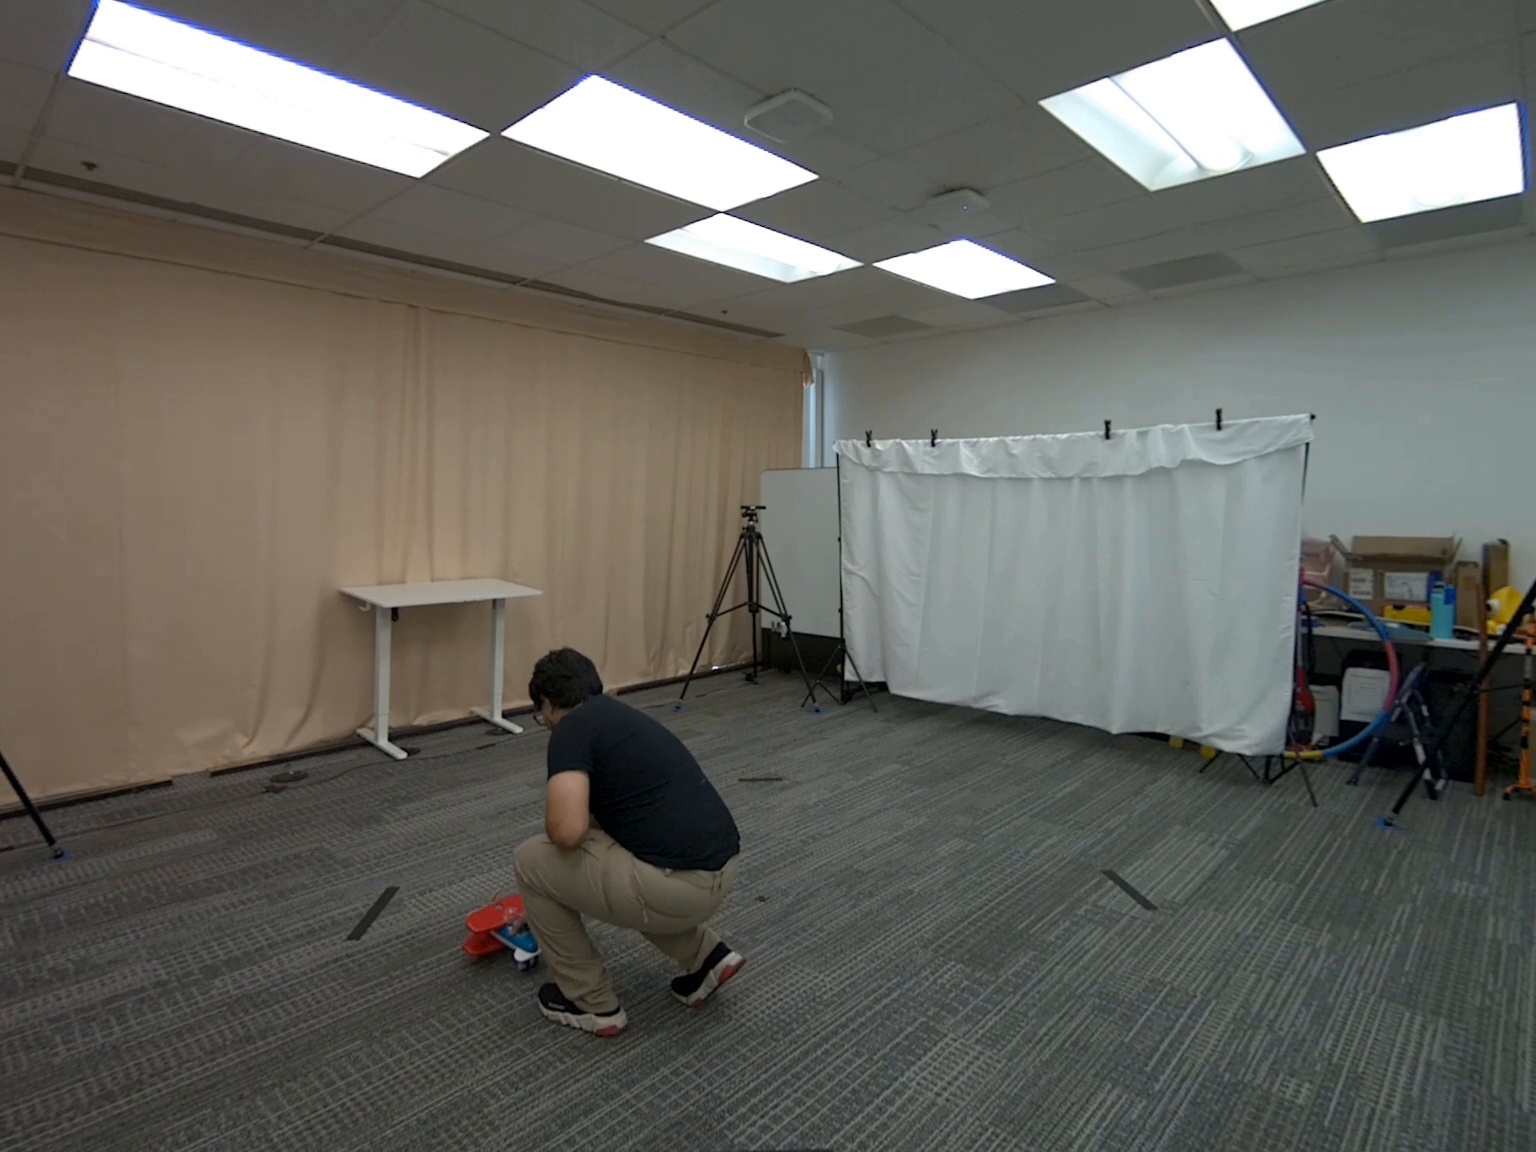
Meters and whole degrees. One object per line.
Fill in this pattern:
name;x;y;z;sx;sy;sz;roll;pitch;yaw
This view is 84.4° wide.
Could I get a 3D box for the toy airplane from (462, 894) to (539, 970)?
toy airplane;-0.797;1.109;2.612;0.261;0.156;0.249;-1;3;6
